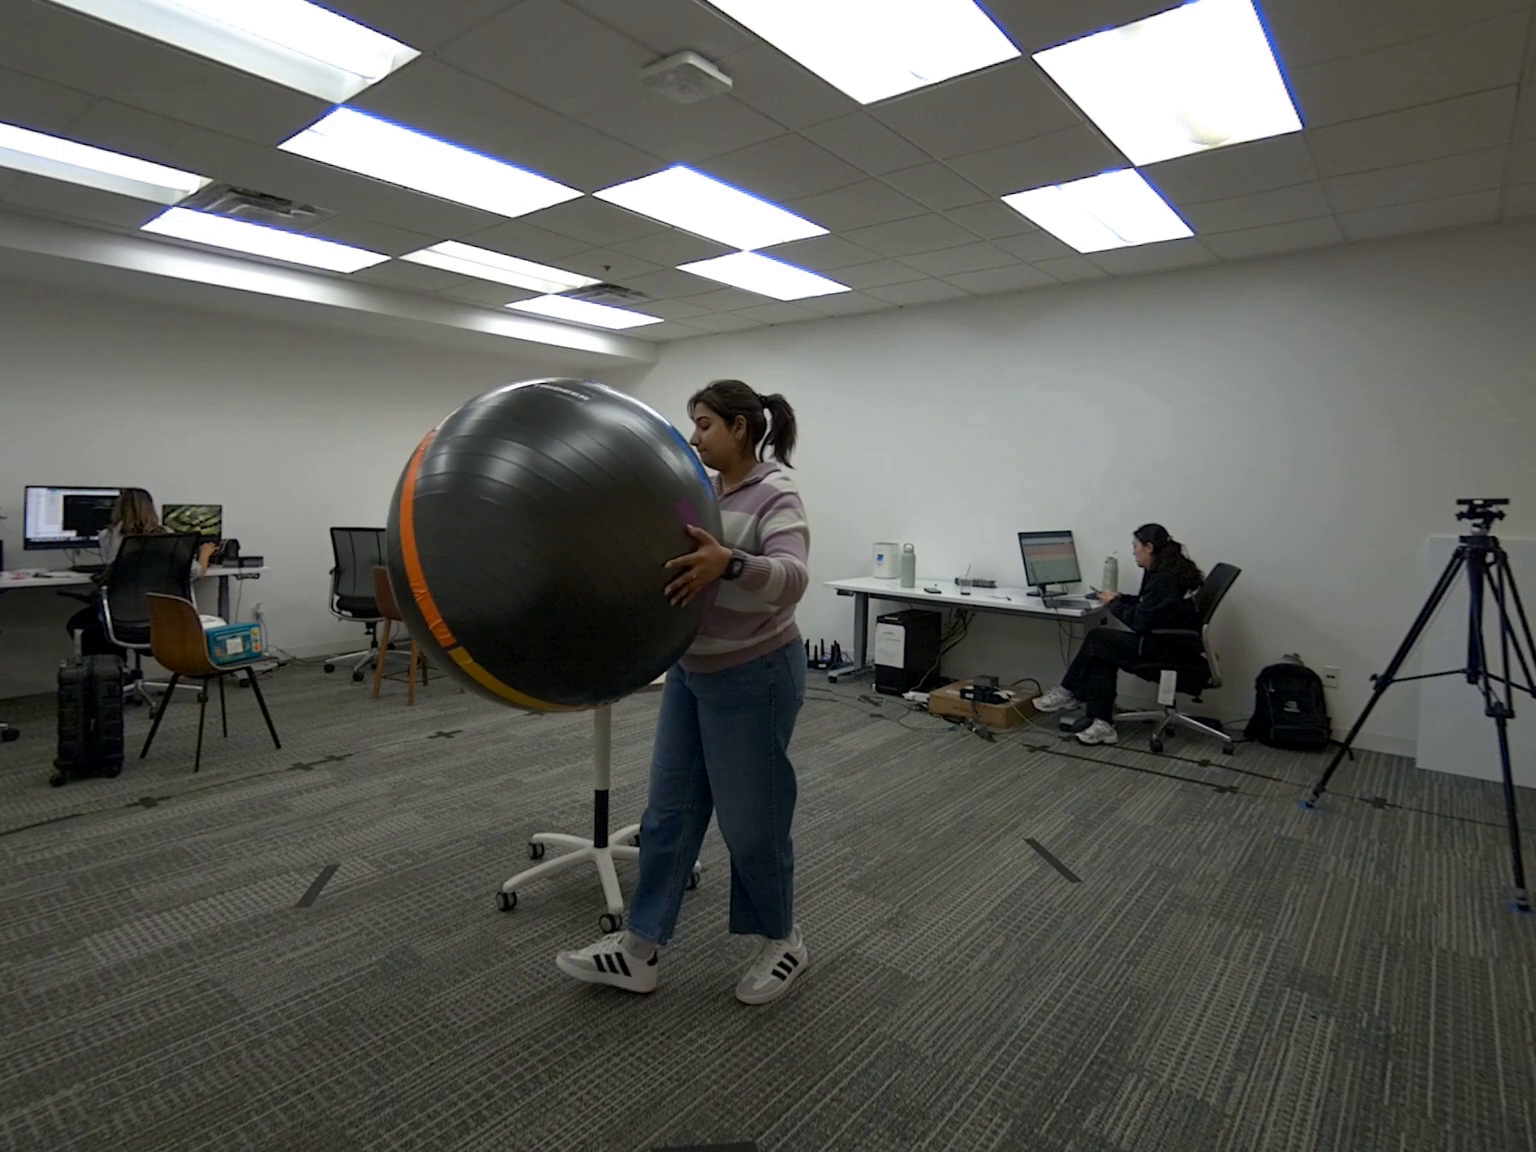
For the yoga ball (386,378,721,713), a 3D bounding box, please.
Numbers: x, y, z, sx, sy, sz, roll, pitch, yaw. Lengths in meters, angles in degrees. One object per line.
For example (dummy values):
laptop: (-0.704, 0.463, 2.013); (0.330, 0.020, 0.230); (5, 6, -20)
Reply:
yoga ball: (-0.497, -0.069, 1.952); (0.757, 0.755, 0.762); (1, 4, -2)
